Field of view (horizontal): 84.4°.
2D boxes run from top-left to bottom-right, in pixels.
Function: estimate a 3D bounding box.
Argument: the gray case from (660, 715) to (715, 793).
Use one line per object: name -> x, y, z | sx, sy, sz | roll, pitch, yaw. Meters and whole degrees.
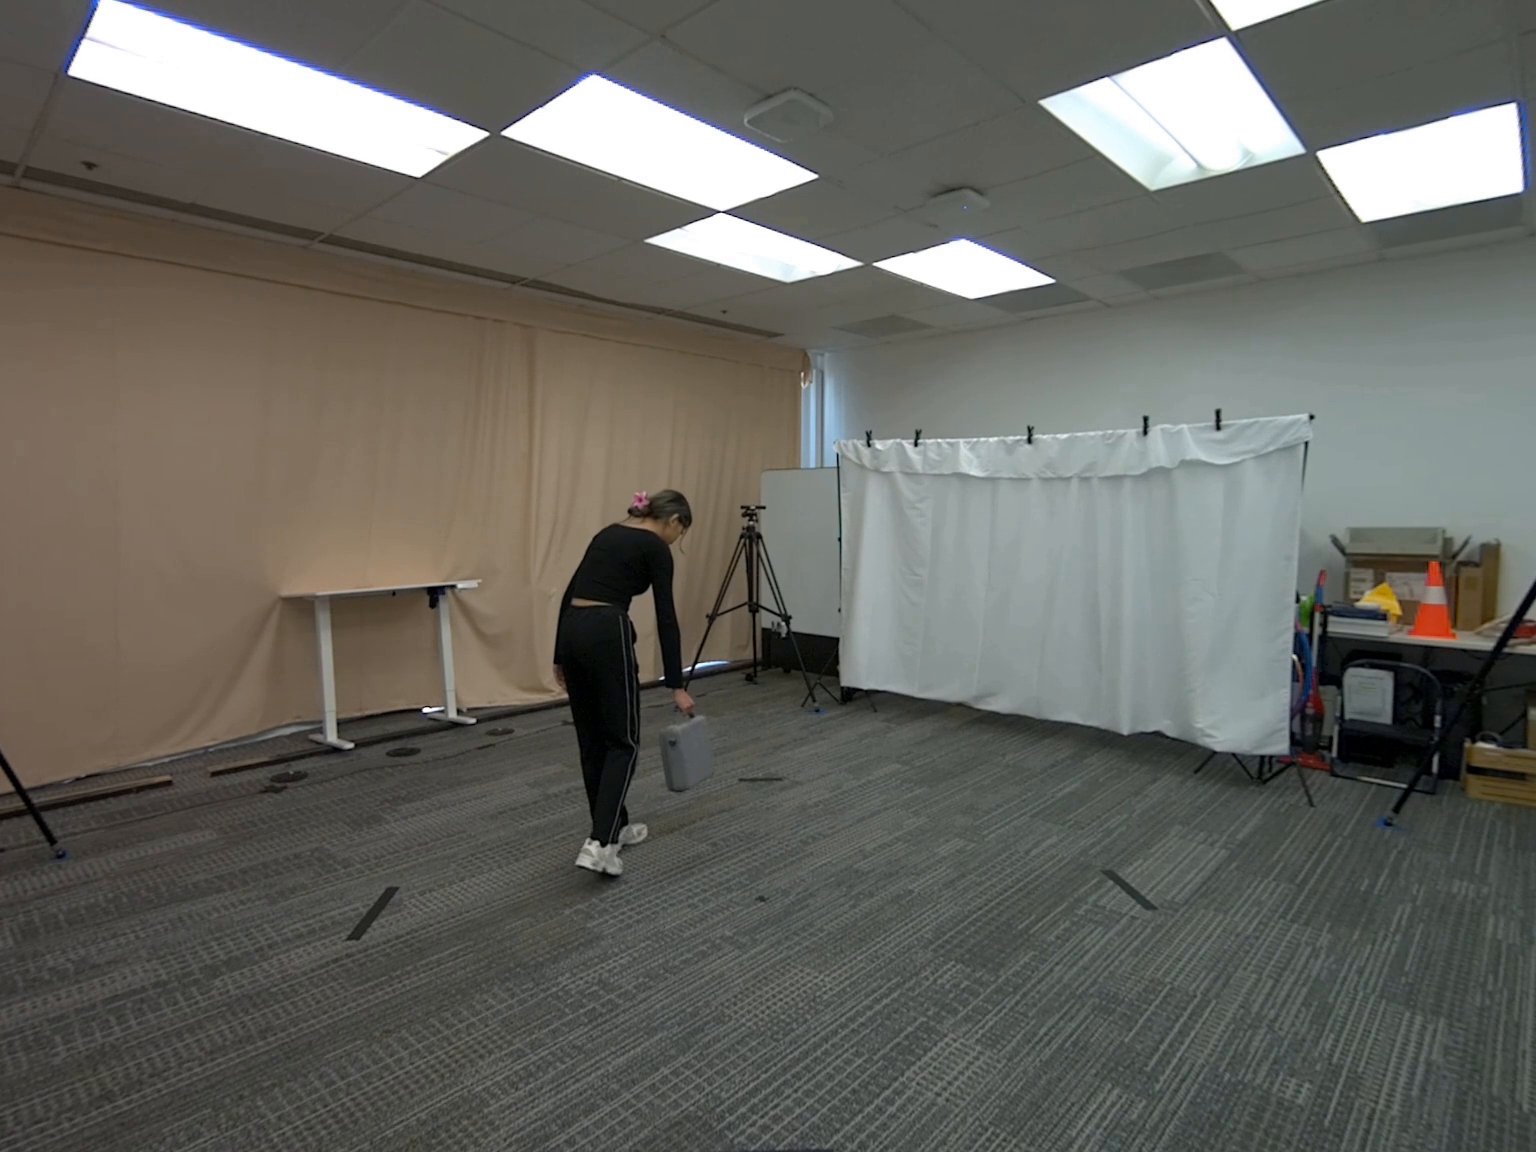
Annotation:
gray case -> -0.319, 0.691, 3.325 | 0.107, 0.260, 0.251 | -5, 1, 23
